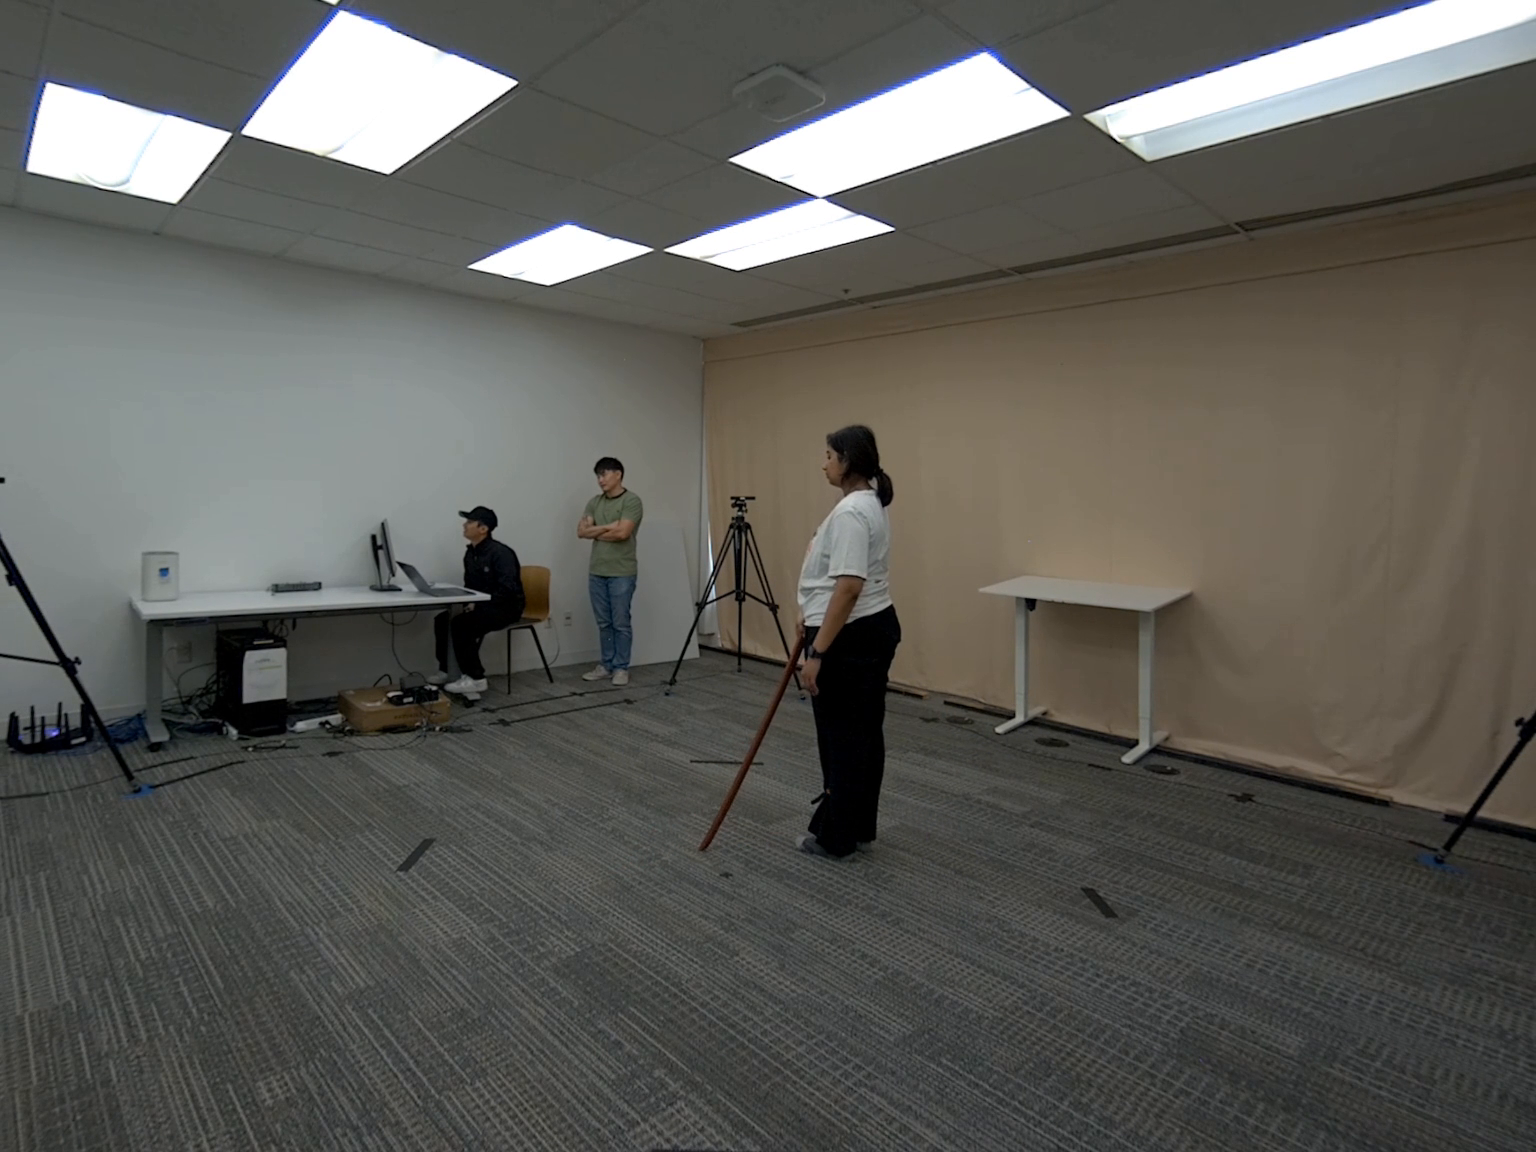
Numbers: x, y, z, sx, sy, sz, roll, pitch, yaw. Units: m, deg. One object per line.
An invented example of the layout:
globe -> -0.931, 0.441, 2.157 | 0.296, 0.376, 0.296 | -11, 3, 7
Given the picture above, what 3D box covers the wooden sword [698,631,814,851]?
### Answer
wooden sword -> -0.044, 0.632, 3.383 | 0.024, 1.028, 0.052 | 28, -11, -14
